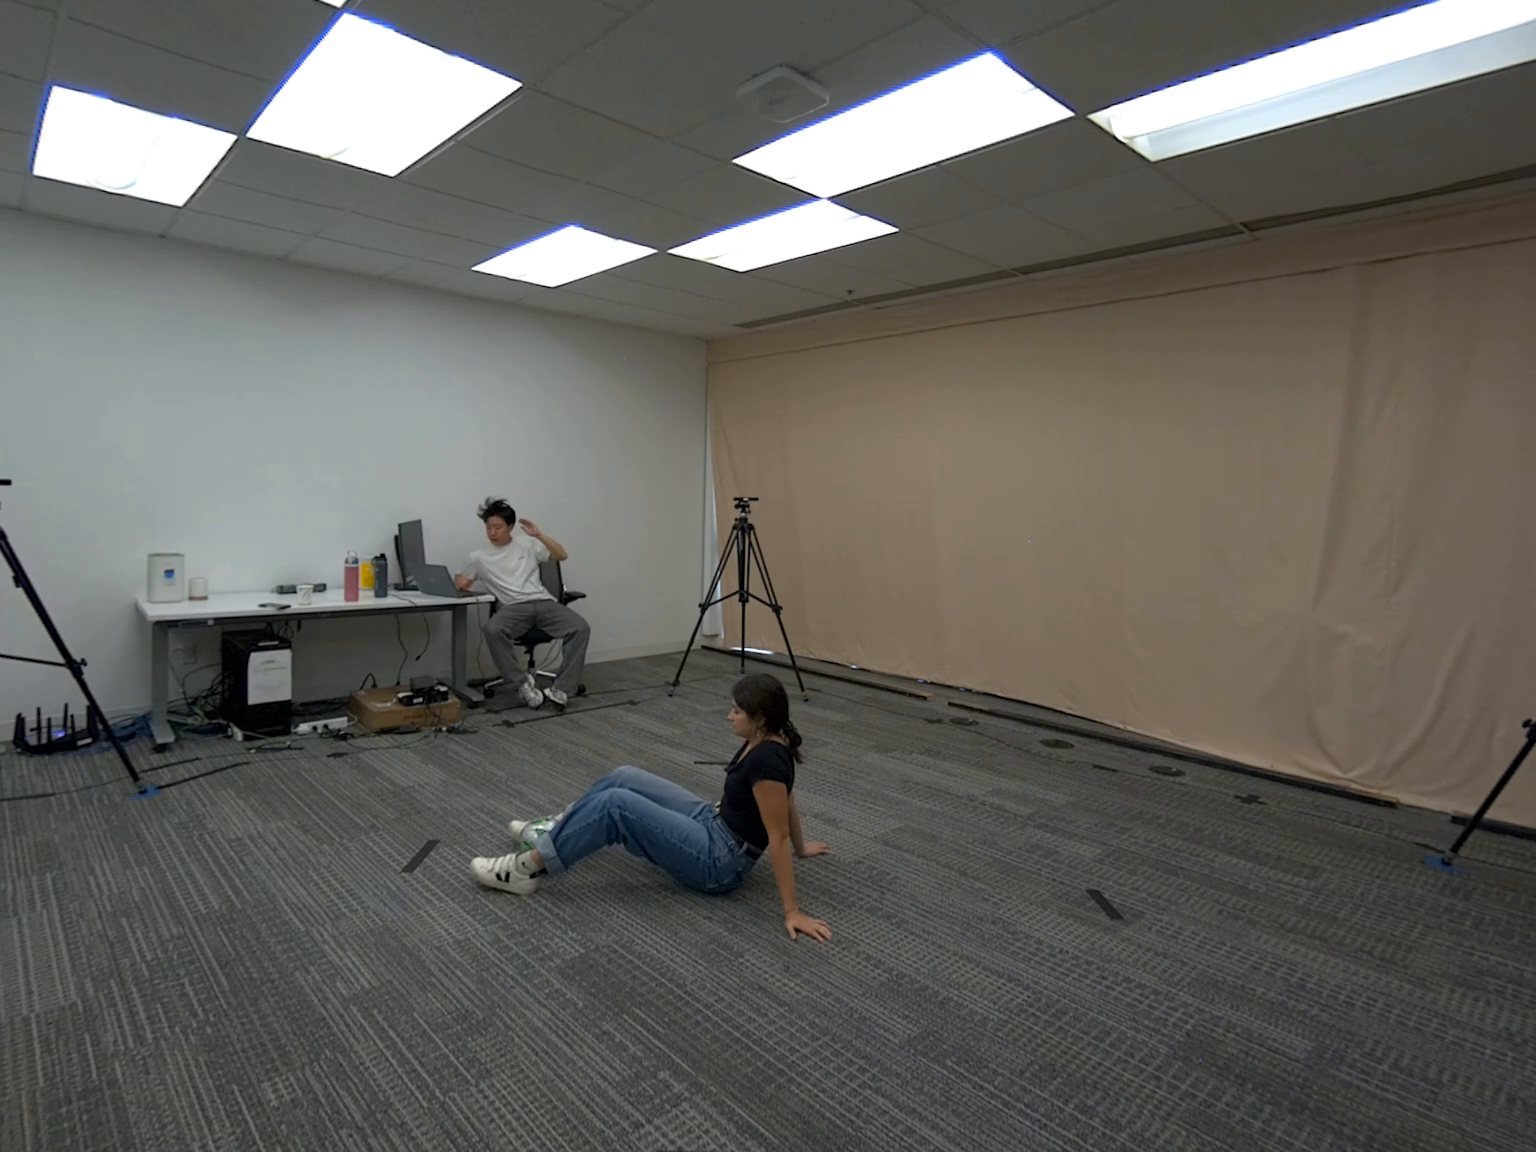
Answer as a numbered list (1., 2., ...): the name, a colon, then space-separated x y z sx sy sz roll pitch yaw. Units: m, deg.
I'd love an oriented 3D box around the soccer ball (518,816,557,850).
1. soccer ball: -0.836 0.994 3.127 0.187 0.186 0.188 1 7 -1
